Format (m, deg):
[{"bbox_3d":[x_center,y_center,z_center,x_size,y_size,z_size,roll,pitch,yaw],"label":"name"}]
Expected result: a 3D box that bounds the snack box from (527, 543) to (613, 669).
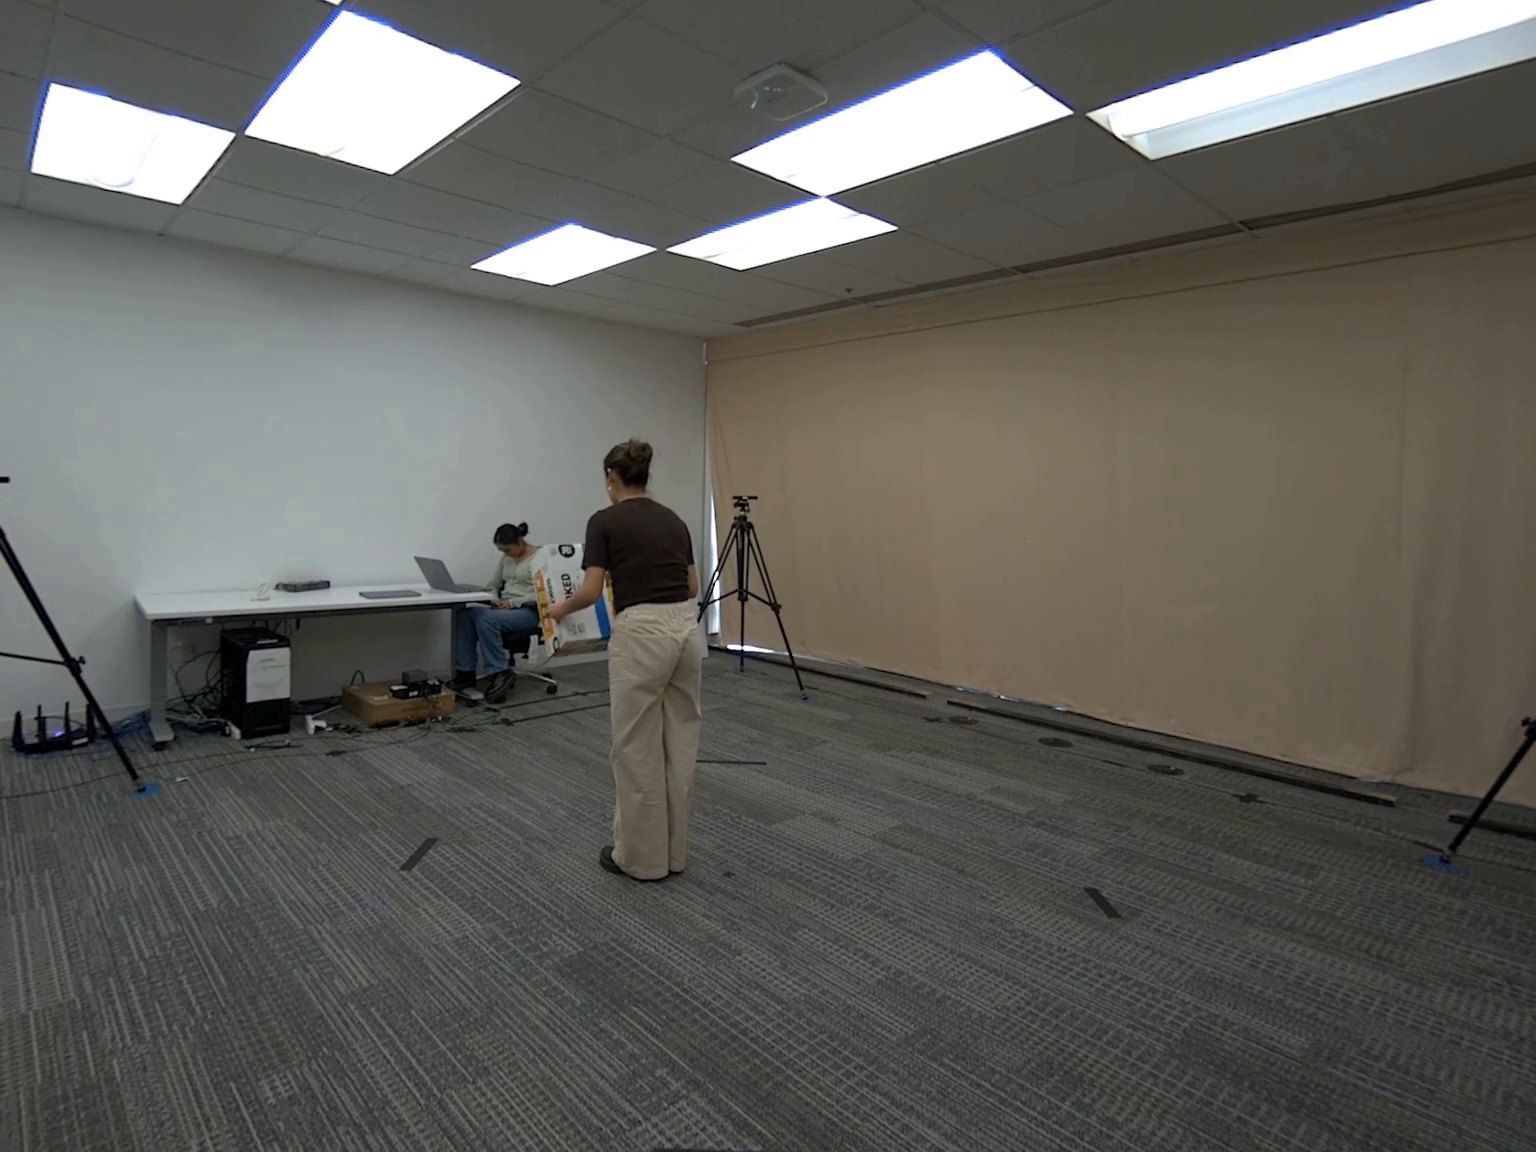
[{"bbox_3d":[-0.747,0.101,3.406,0.333,0.411,0.207,-4,-21,-36],"label":"snack box"}]
